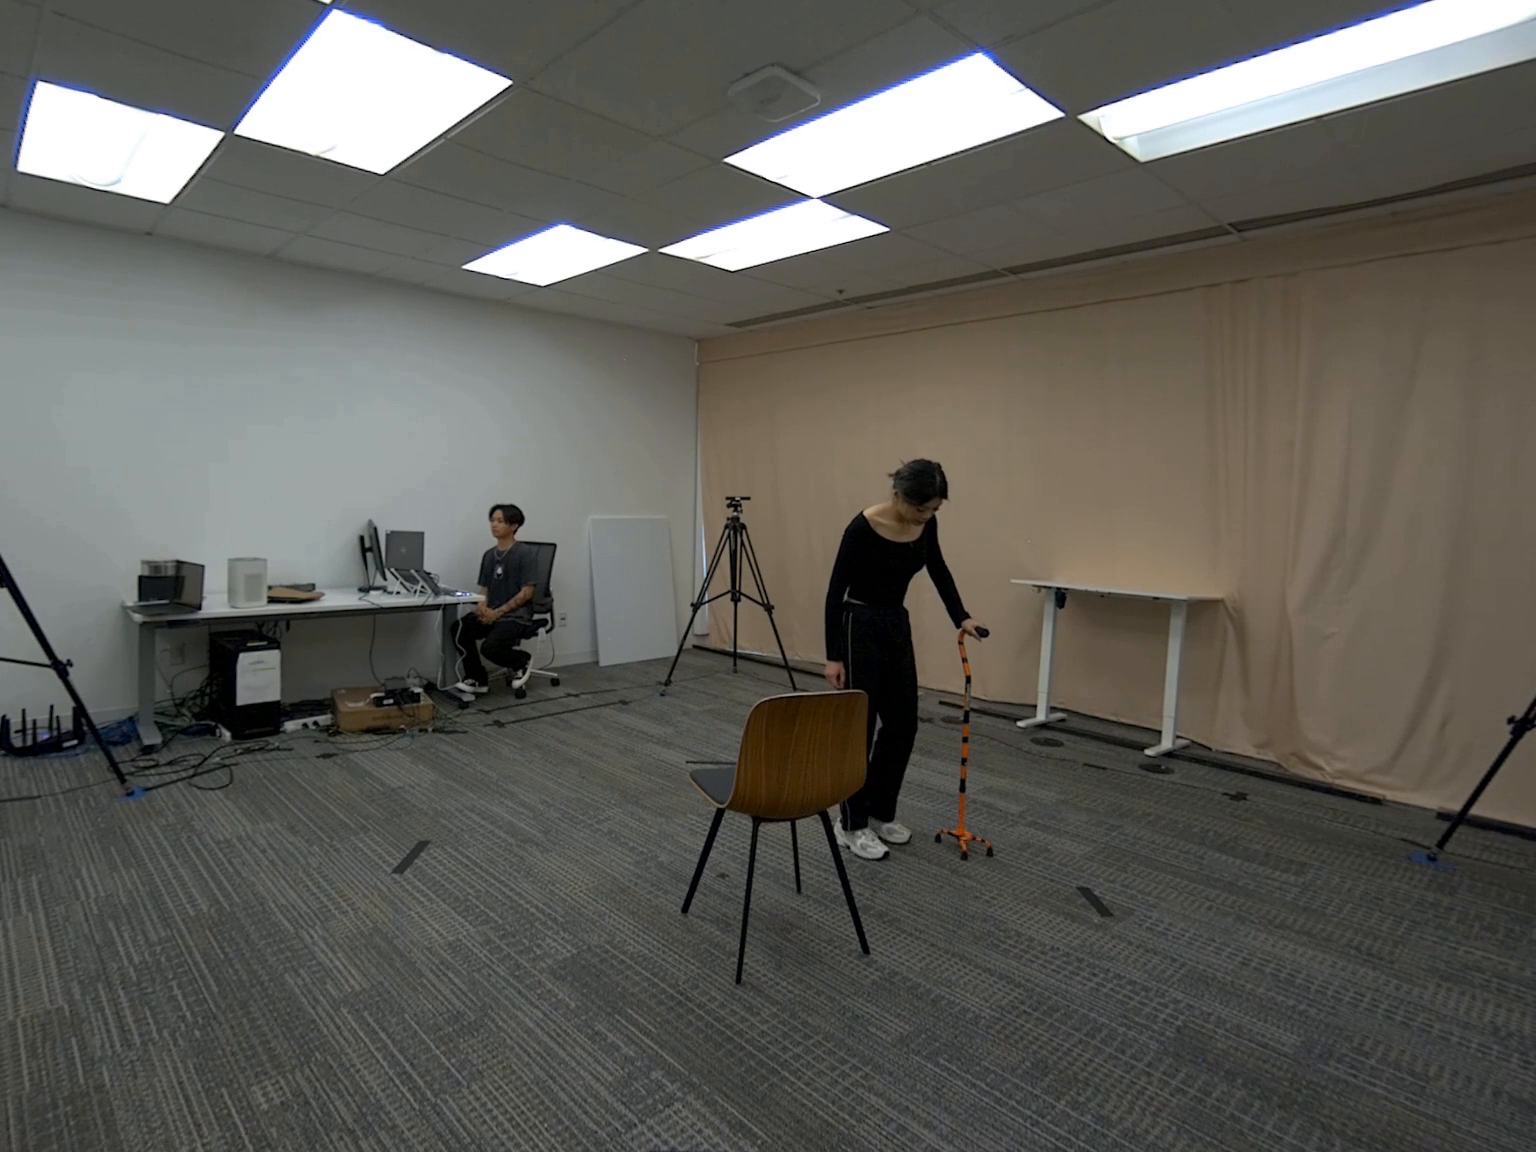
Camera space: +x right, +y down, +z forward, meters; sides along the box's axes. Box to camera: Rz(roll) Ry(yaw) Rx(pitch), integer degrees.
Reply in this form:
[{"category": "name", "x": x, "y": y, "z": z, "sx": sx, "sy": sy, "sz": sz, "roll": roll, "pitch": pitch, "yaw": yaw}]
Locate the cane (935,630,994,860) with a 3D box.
[{"category": "cane", "x": 0.799, "y": 0.645, "z": 3.384, "sx": 0.149, "sy": 0.905, "sz": 0.210, "roll": 1, "pitch": 4, "yaw": -24}]
